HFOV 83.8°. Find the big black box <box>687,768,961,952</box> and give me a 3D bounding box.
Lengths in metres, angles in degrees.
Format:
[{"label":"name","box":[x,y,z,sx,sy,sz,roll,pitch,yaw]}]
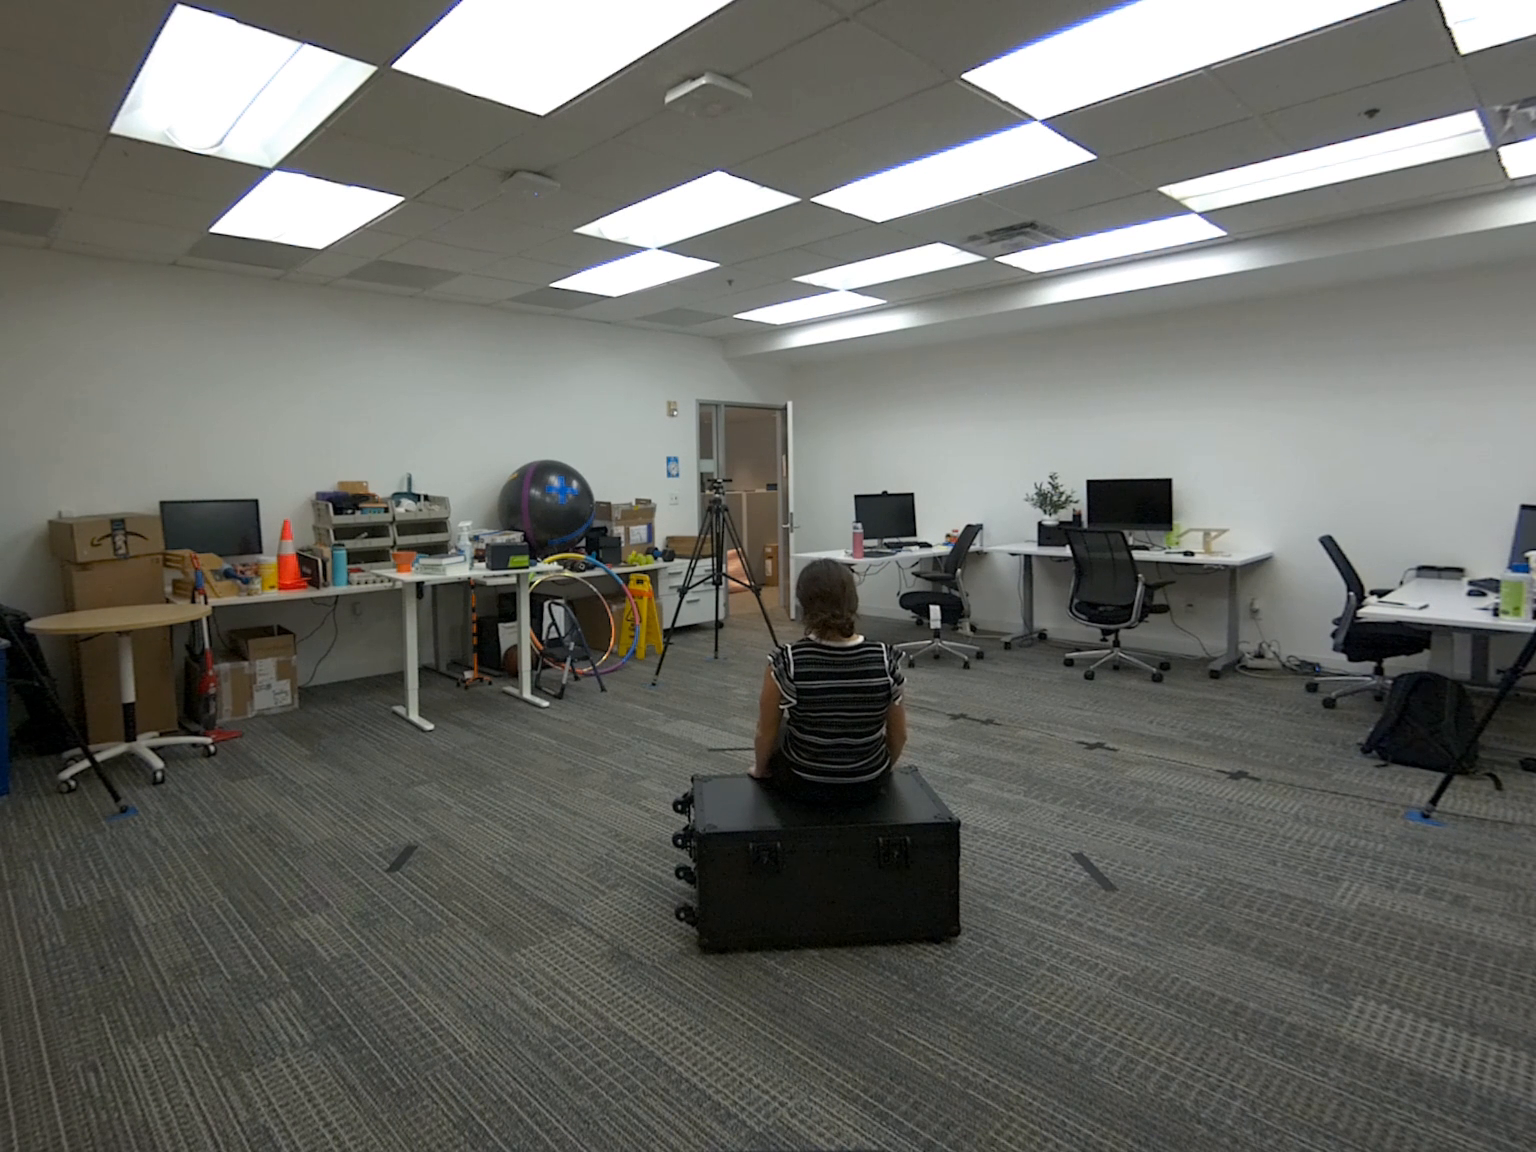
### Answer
[{"label":"big black box","box":[0.124,0.887,2.753,0.857,0.394,0.526,-1,5,-5]}]
